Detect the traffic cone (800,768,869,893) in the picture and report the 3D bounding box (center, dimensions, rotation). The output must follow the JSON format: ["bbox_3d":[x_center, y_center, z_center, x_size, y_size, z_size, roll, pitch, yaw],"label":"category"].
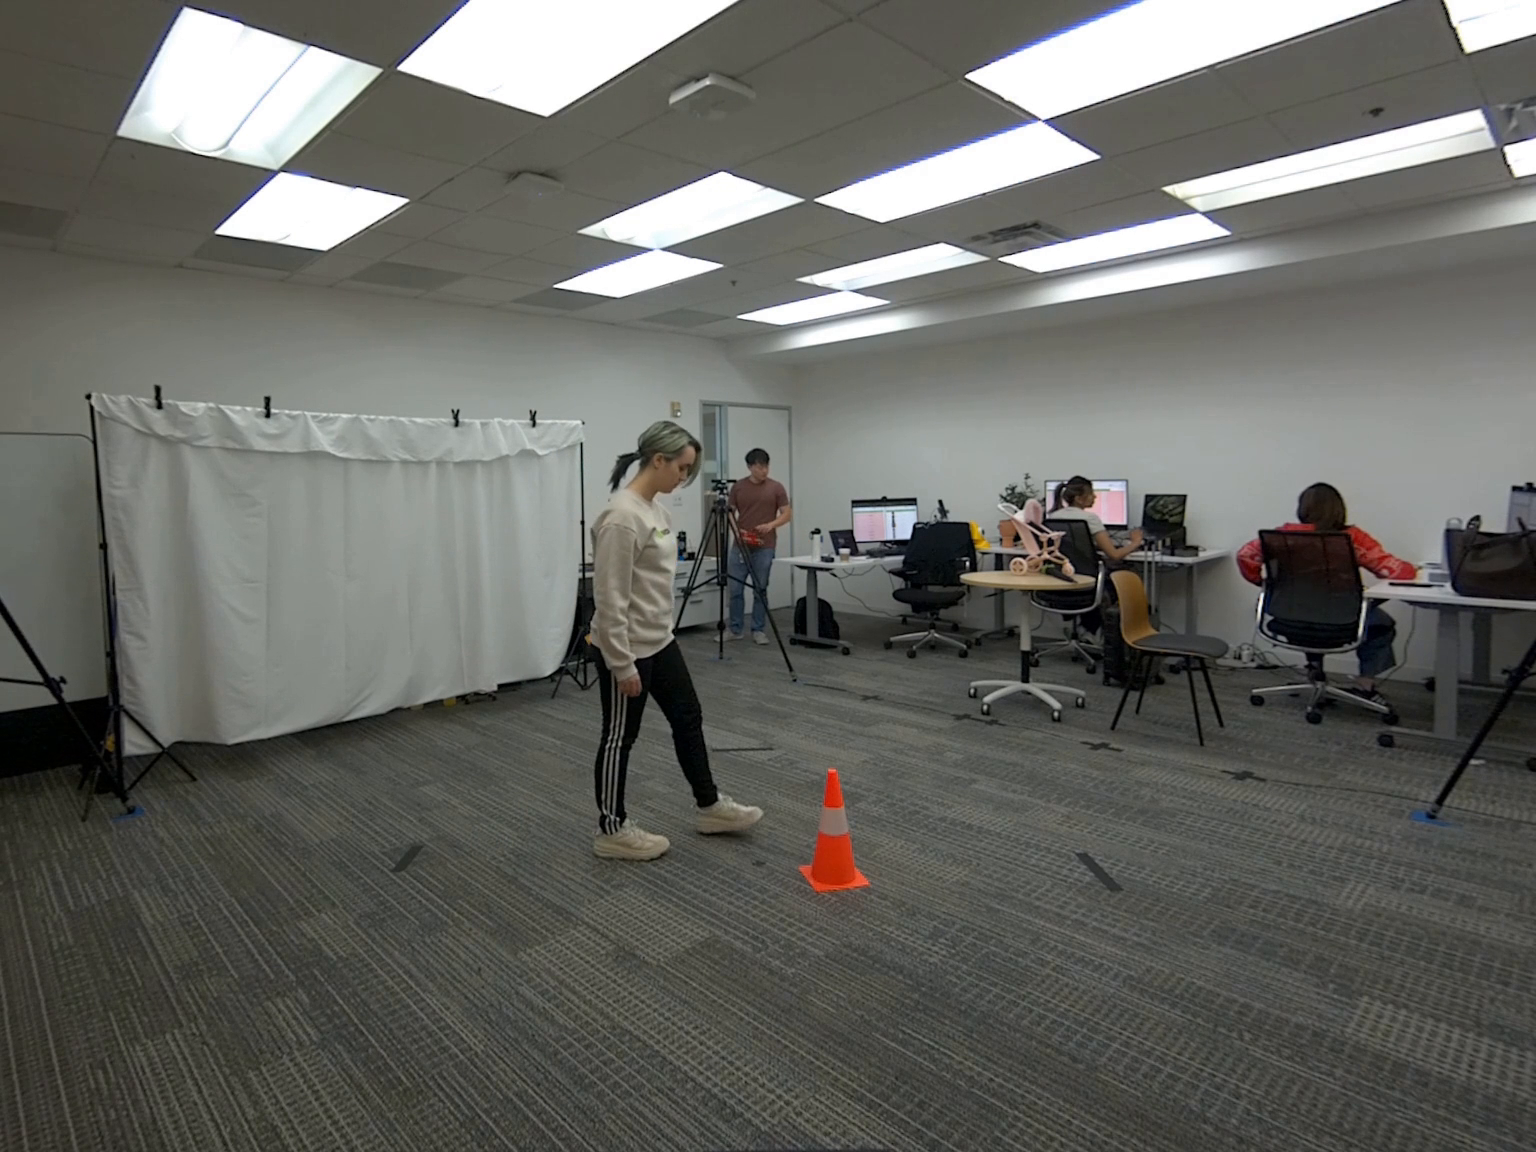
[{"bbox_3d":[0.236,0.869,2.986,0.203,0.382,0.206,-1,6,-12],"label":"traffic cone"}]
